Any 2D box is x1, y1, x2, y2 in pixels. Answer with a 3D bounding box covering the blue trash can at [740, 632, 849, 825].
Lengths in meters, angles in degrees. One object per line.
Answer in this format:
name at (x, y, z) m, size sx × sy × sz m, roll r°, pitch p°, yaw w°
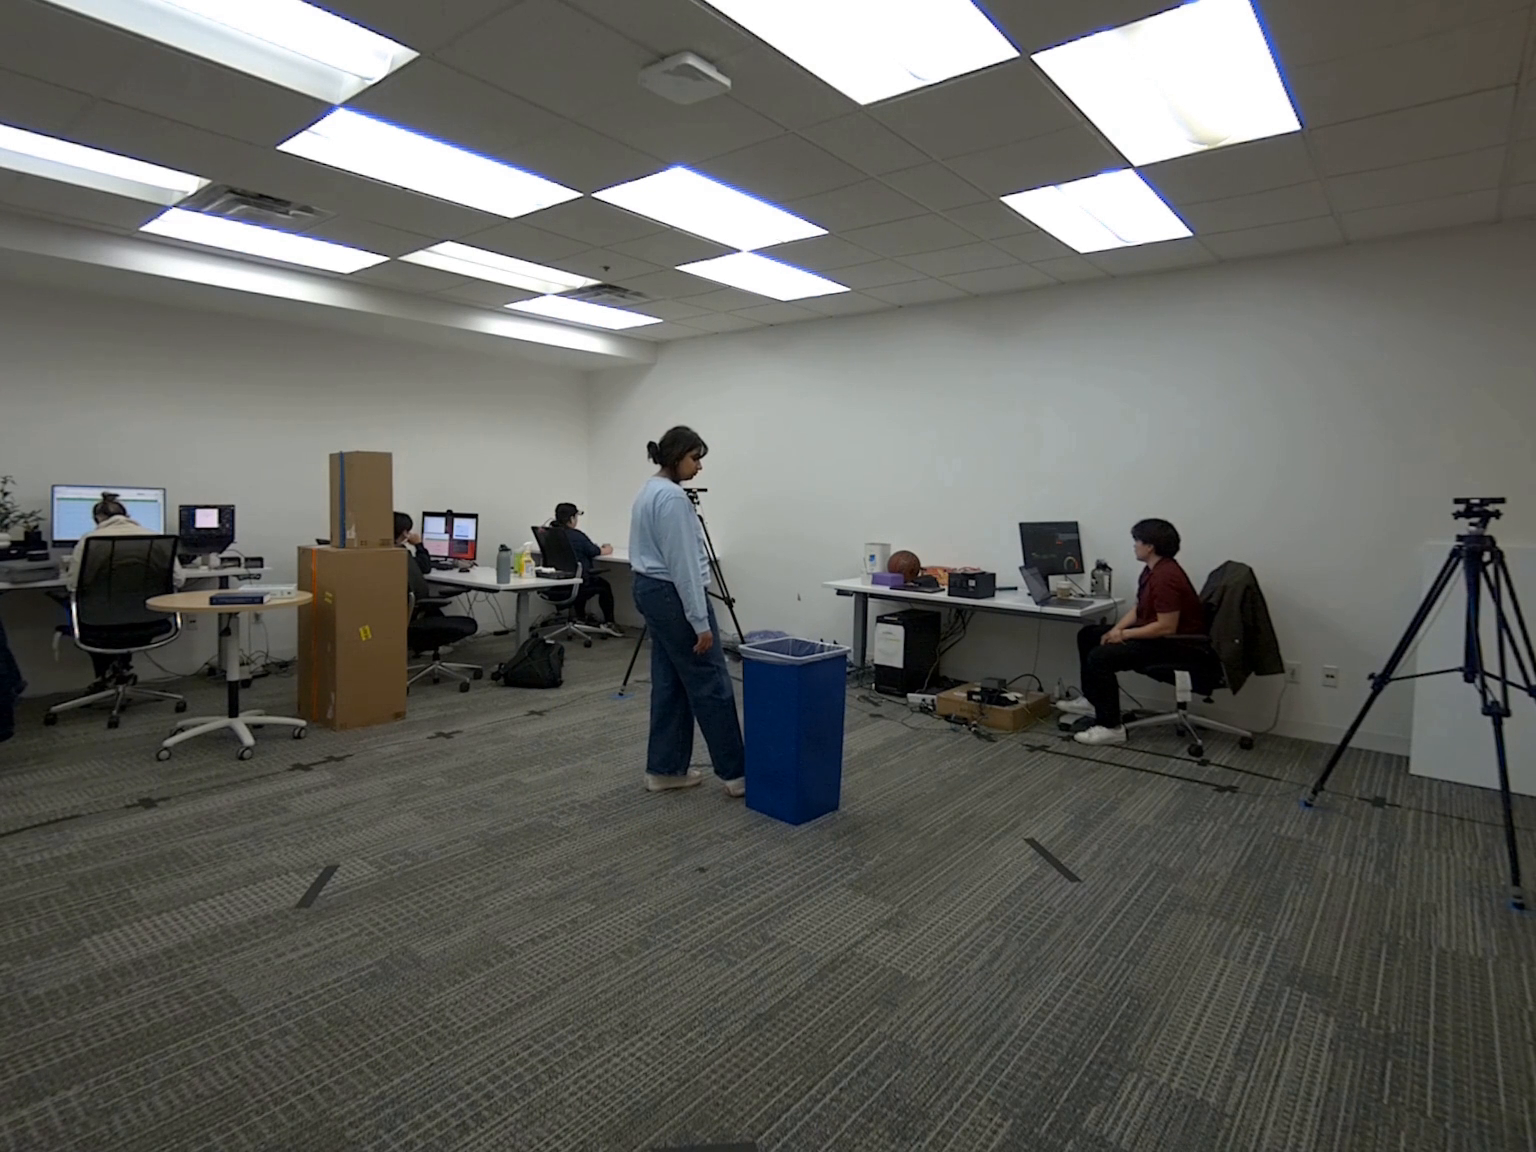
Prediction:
blue trash can at (0.097, 0.660, 3.725) m, size 0.387 × 0.711 × 0.367 m, roll 4°, pitch 5°, yaw 43°
